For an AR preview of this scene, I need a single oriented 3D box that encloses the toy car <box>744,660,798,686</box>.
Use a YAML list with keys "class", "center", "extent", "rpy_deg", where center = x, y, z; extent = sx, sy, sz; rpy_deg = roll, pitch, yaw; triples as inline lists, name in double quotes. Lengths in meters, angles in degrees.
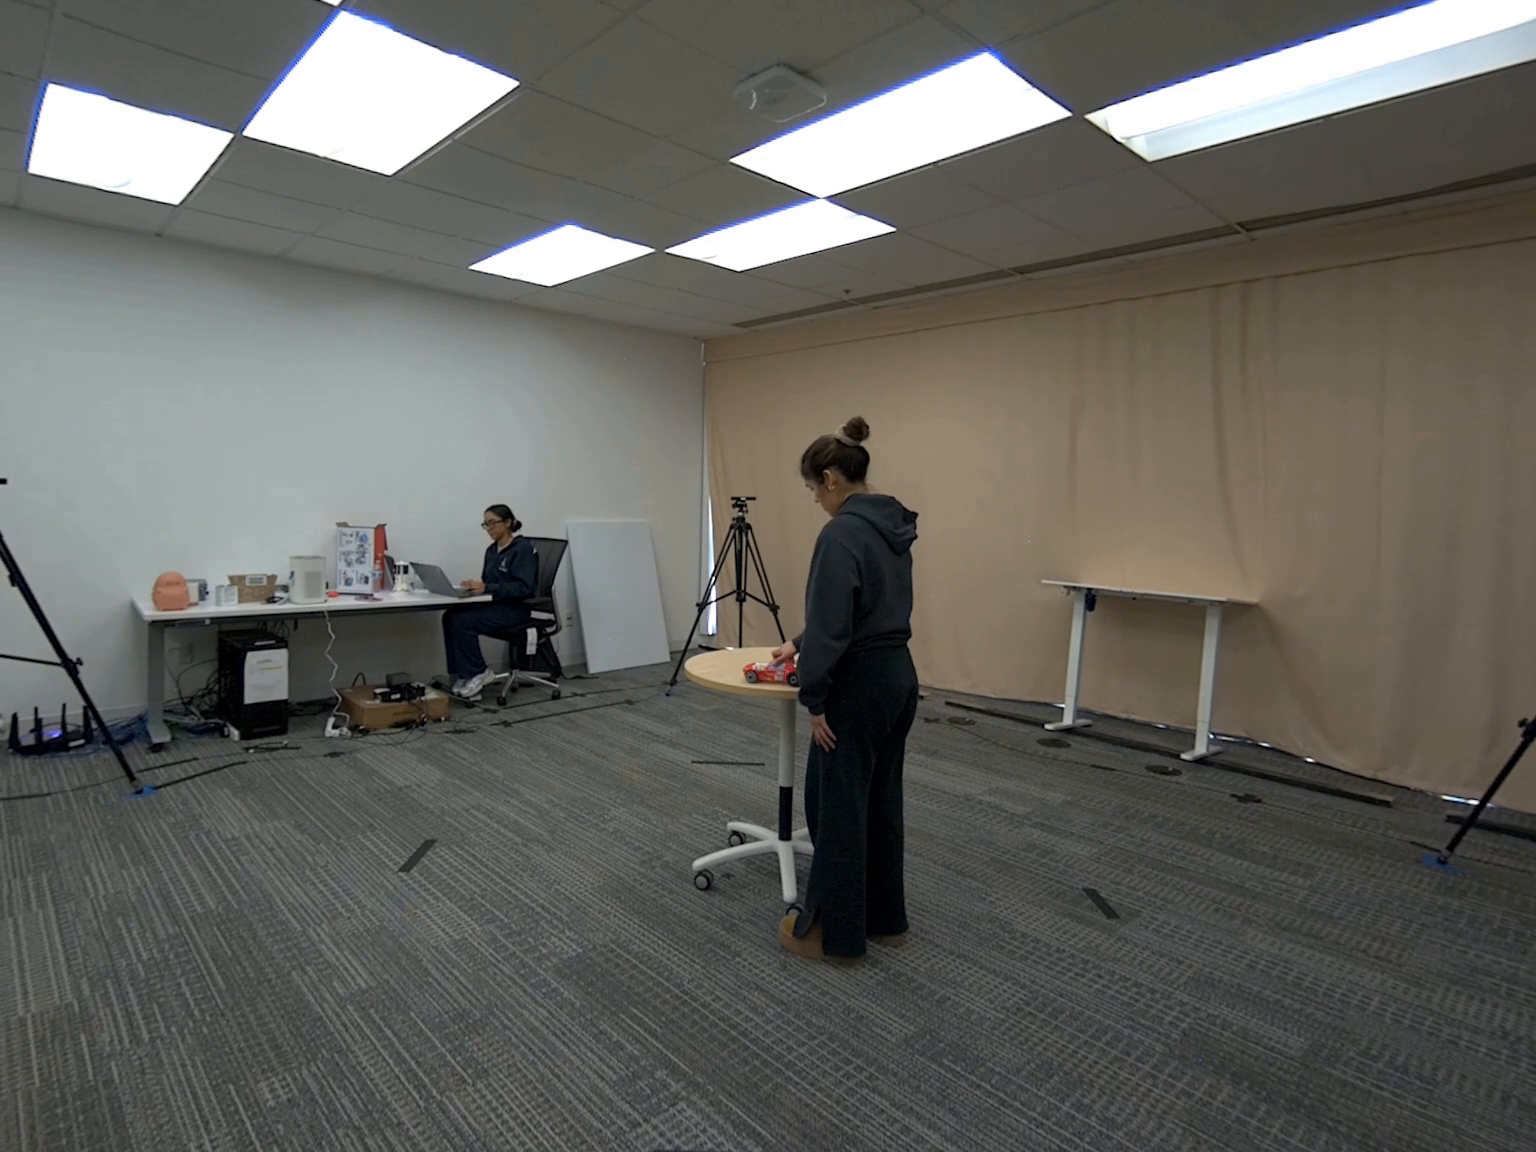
- class: "toy car"
  center: [0.044, 0.322, 2.819]
  extent: [0.257, 0.083, 0.129]
  rpy_deg: [-8, 1, 15]
